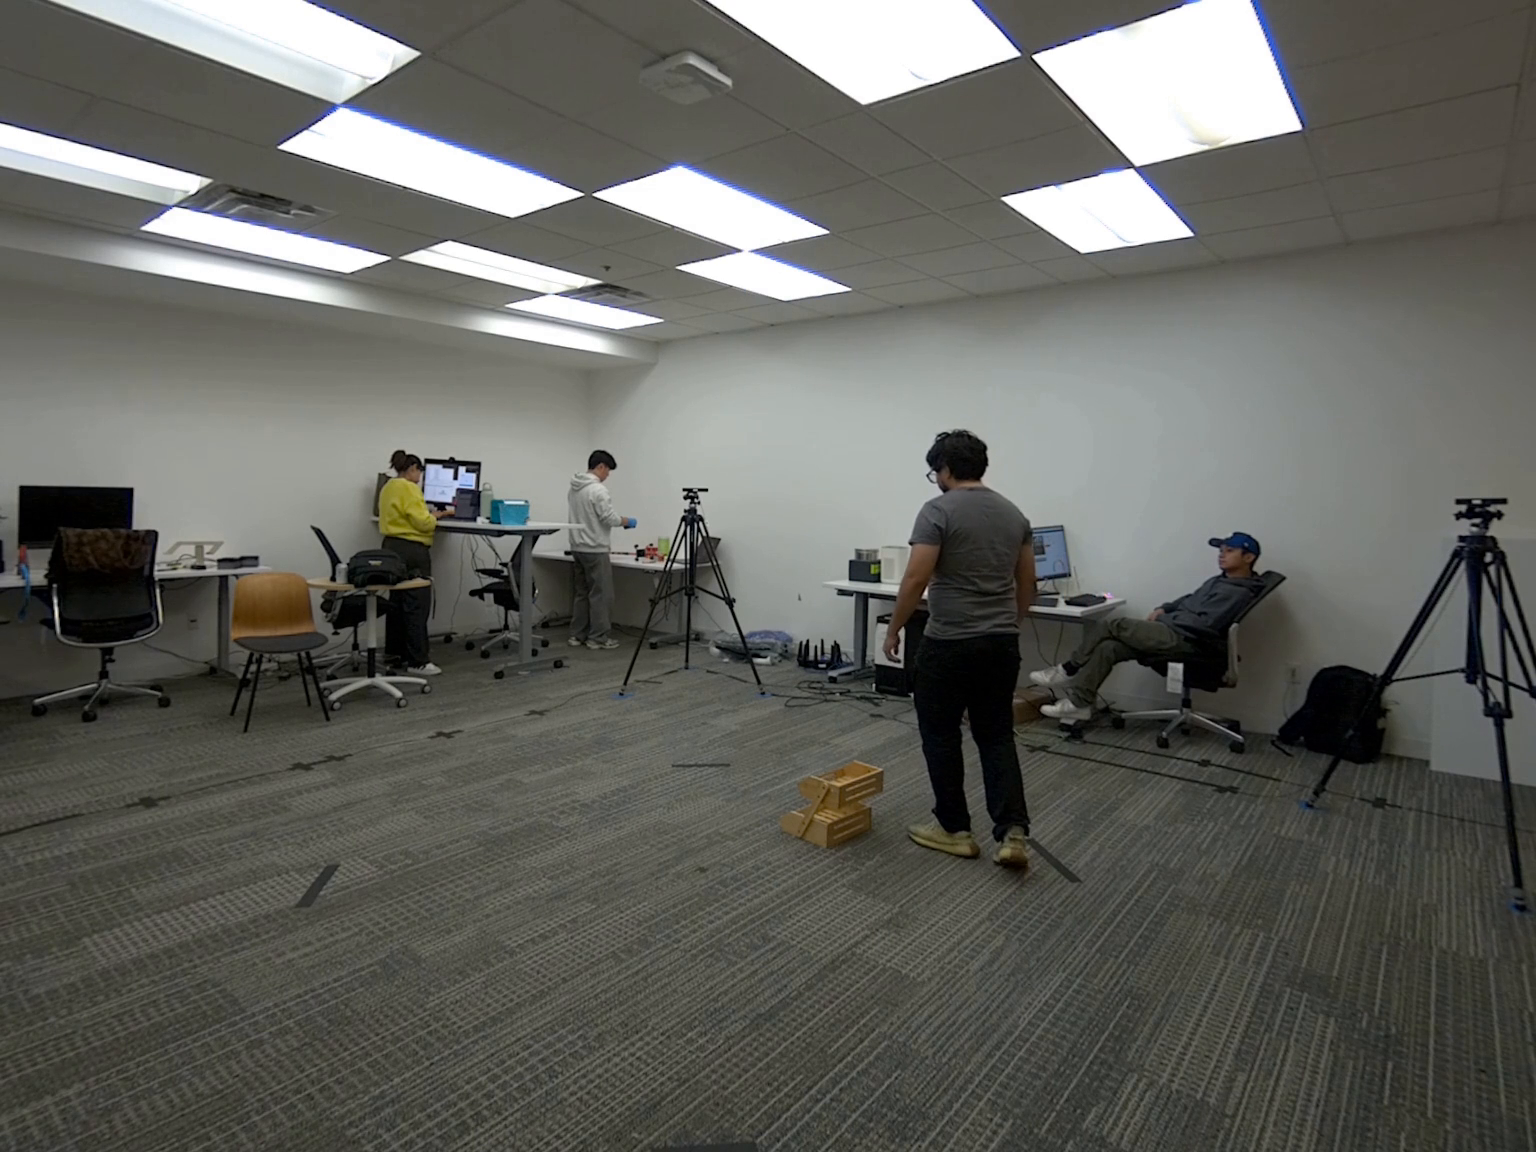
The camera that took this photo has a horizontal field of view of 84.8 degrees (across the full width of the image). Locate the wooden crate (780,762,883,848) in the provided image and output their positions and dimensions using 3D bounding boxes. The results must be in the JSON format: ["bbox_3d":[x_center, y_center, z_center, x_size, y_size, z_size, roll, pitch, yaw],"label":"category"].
[{"bbox_3d":[0.251,0.910,3.493,0.312,0.272,0.315,6,7,43],"label":"wooden crate"}]
